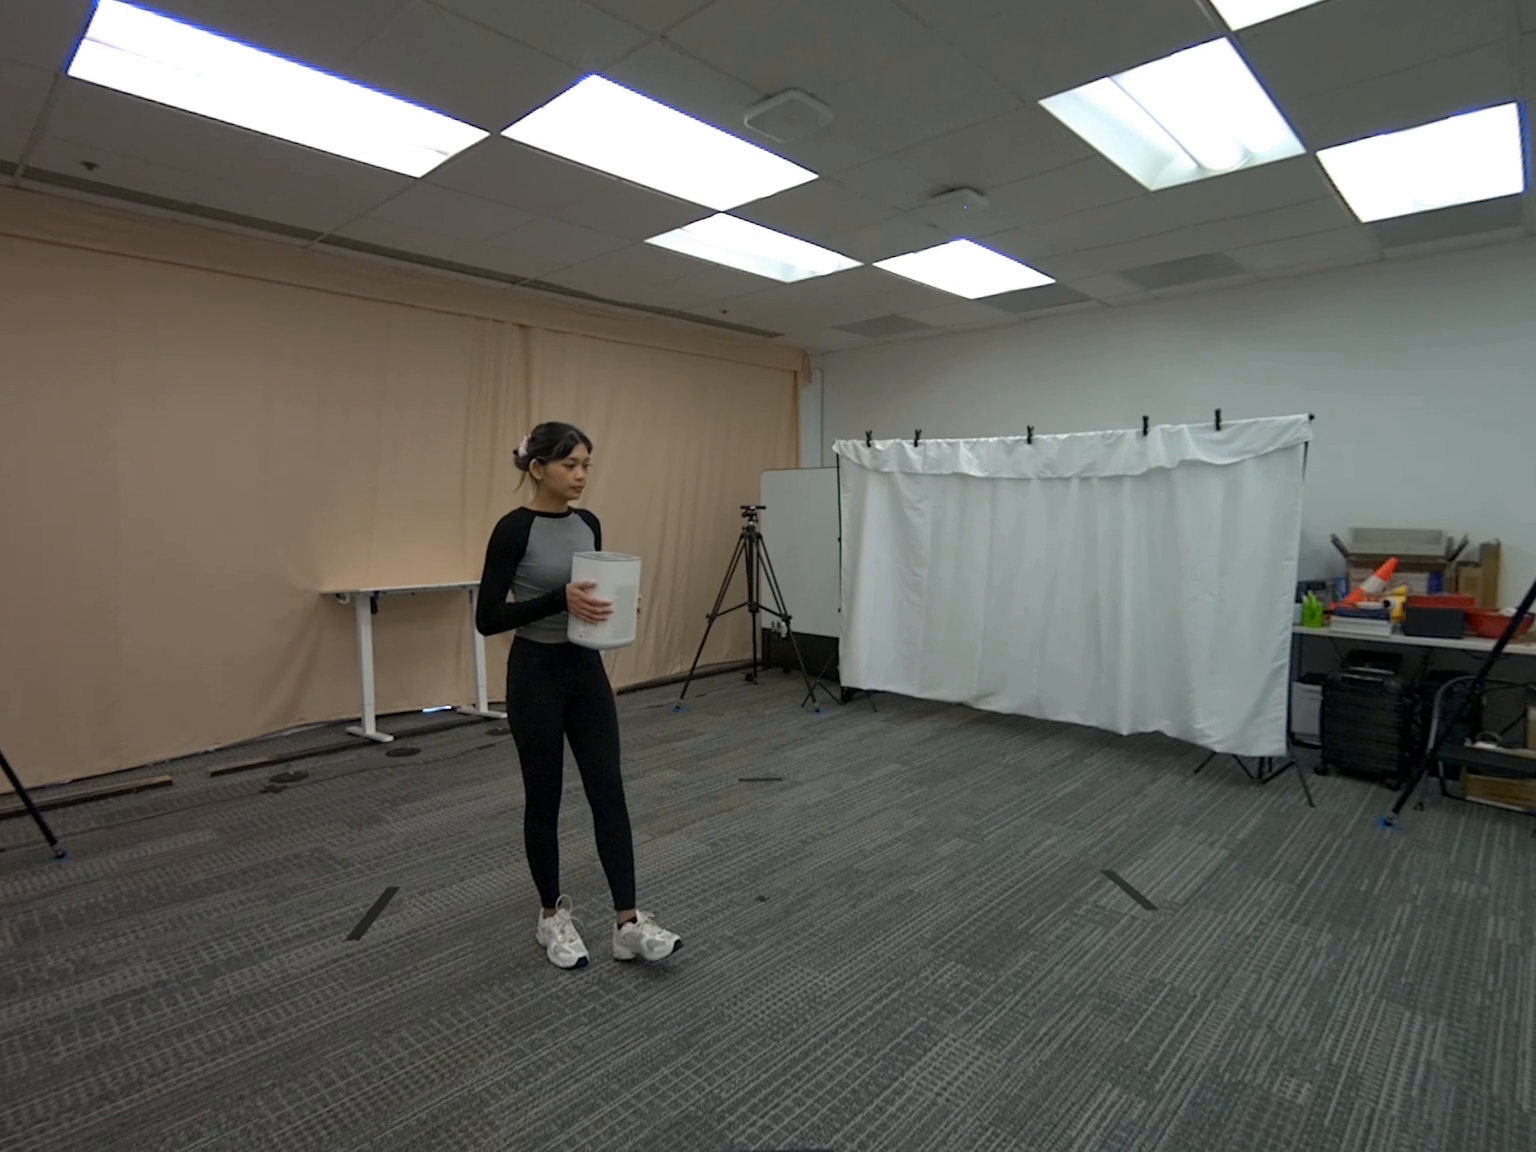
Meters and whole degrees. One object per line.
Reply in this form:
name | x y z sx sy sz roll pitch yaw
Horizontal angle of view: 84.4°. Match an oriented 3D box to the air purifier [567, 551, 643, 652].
air purifier | -0.483 0.071 2.447 0.177 0.264 0.166 9 7 37
